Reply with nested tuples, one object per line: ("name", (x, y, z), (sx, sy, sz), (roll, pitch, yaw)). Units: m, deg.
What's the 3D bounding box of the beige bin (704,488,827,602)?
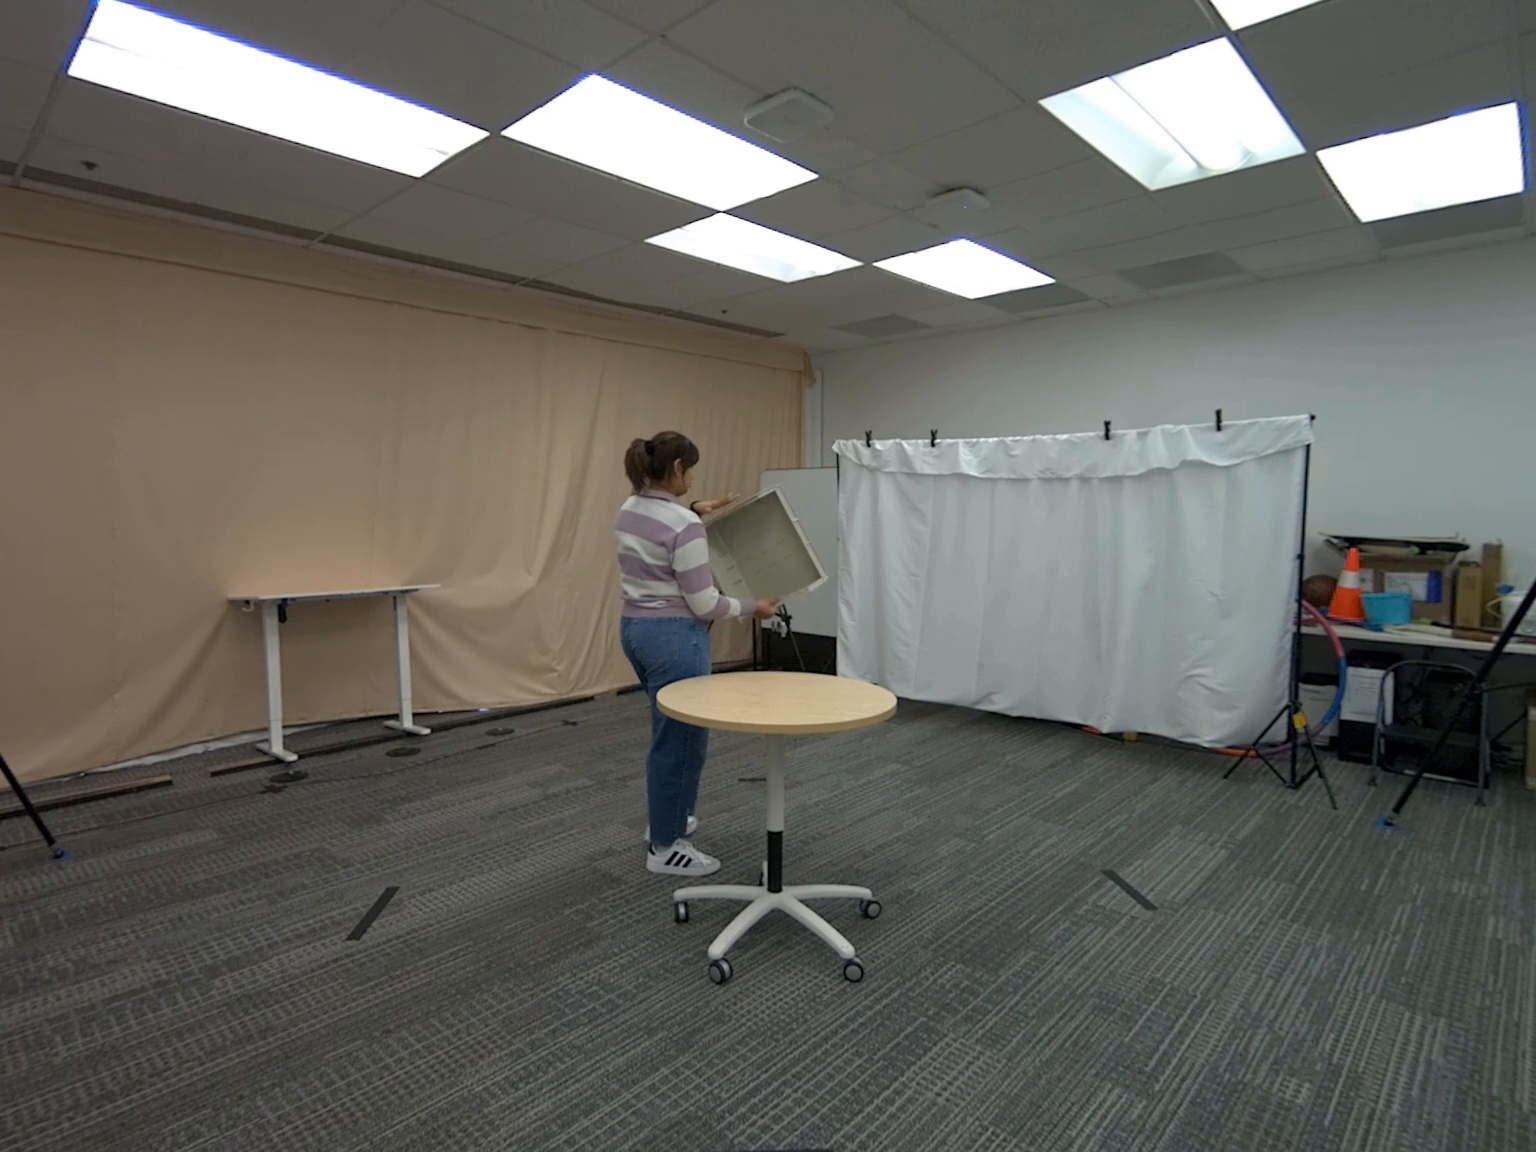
("beige bin", (-0.024, -0.086, 3.306), (0.383, 0.423, 0.185), (-28, -1, 29))
